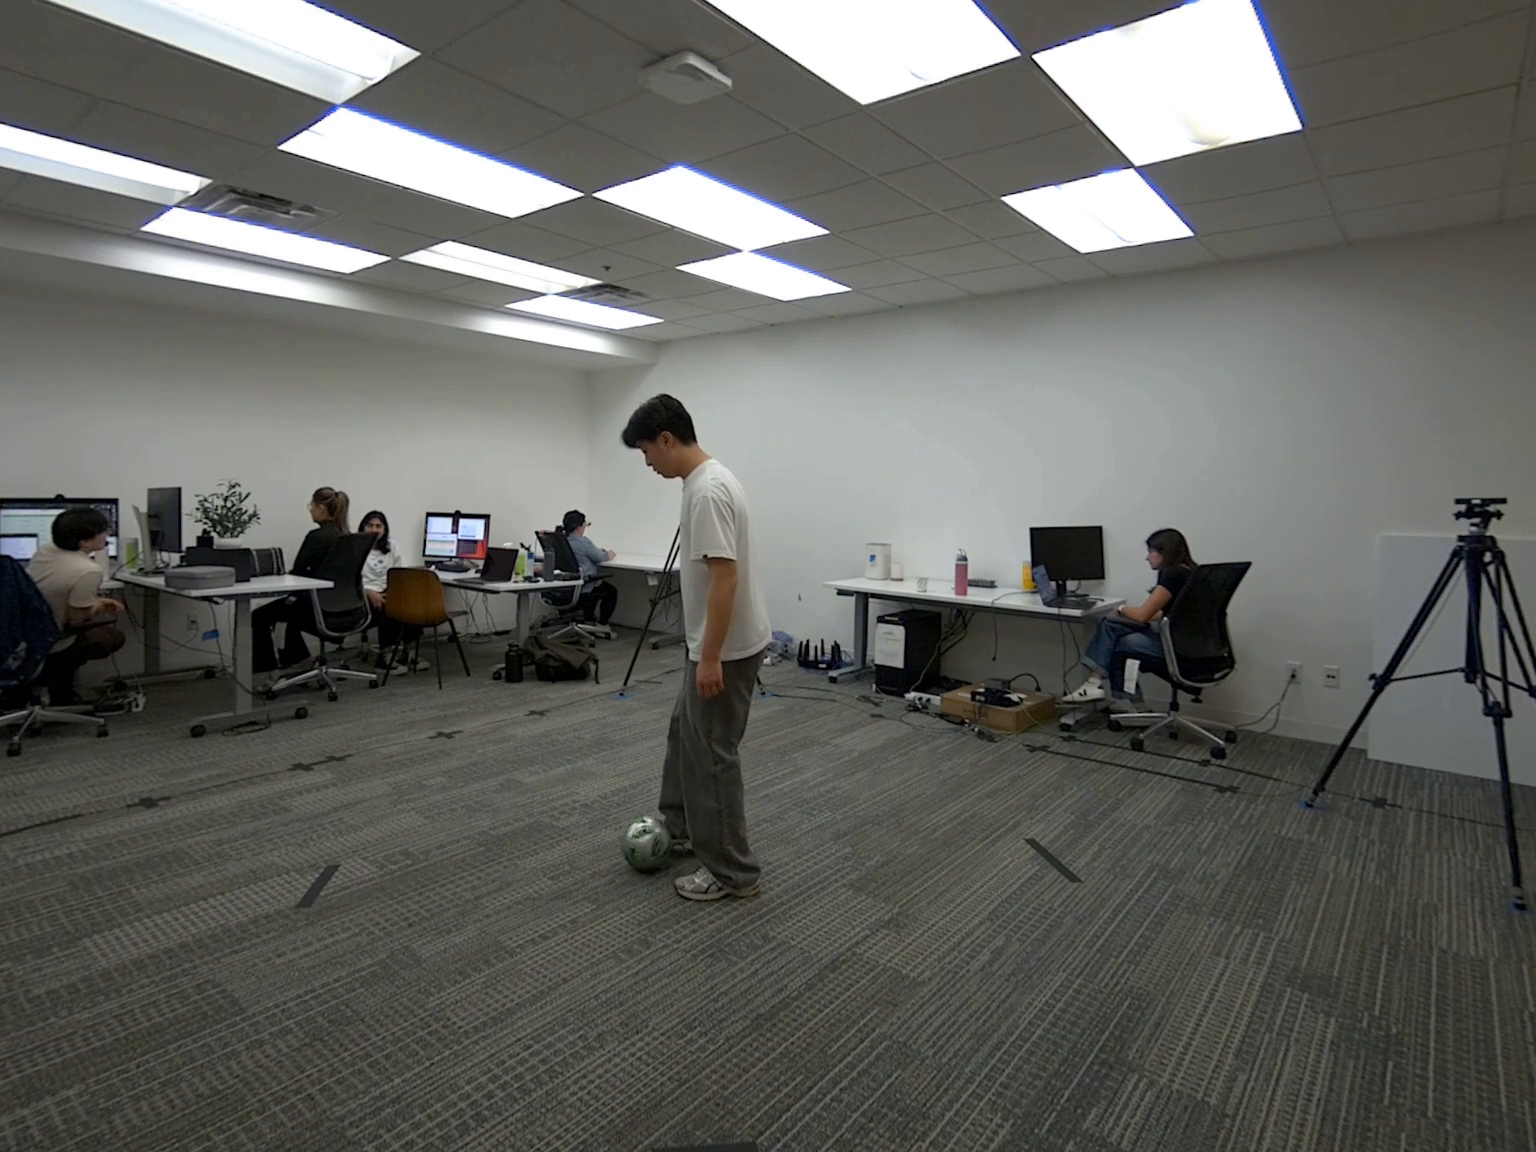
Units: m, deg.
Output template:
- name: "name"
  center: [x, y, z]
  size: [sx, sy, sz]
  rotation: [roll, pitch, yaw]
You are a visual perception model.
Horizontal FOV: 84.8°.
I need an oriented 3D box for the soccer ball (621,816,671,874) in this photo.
- name: "soccer ball"
  center: [-0.446, 0.971, 3.111]
  size: [0.187, 0.187, 0.188]
  rotation: [1, 4, -2]
